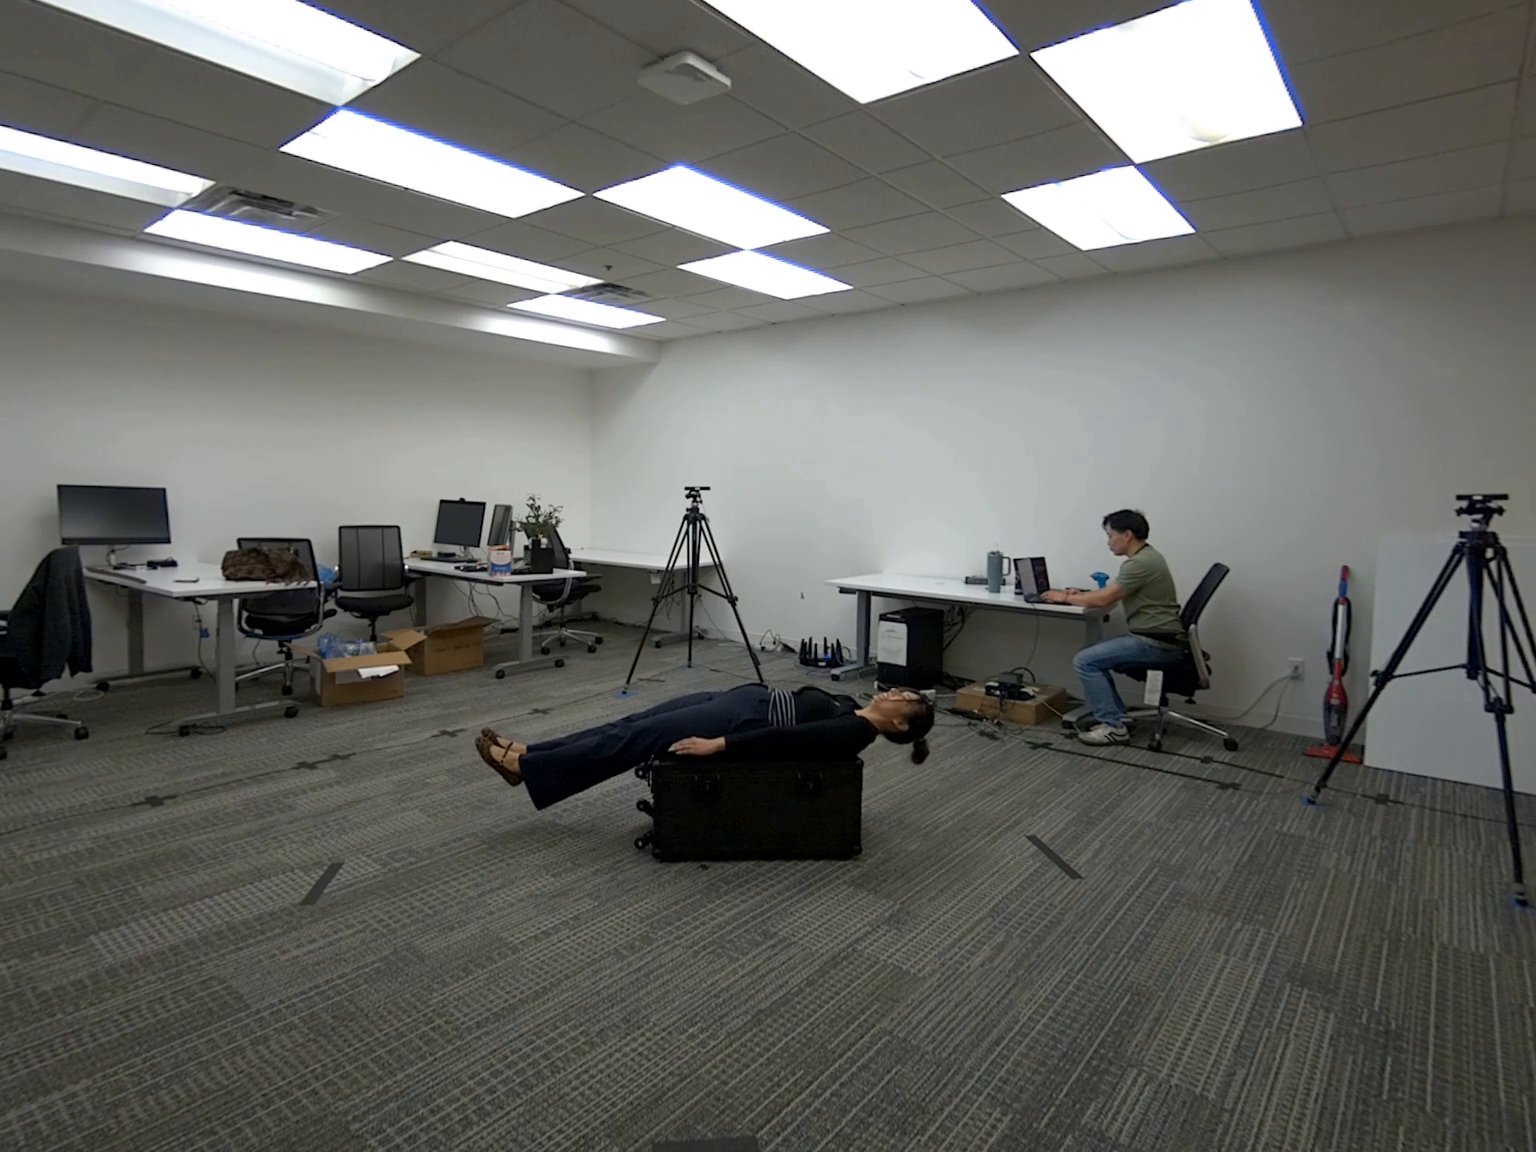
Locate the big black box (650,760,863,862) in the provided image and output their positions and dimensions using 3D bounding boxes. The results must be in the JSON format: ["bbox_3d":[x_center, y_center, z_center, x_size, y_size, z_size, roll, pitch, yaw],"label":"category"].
[{"bbox_3d":[-0.110,0.841,3.389,0.857,0.394,0.526,0,5,-5],"label":"big black box"}]
